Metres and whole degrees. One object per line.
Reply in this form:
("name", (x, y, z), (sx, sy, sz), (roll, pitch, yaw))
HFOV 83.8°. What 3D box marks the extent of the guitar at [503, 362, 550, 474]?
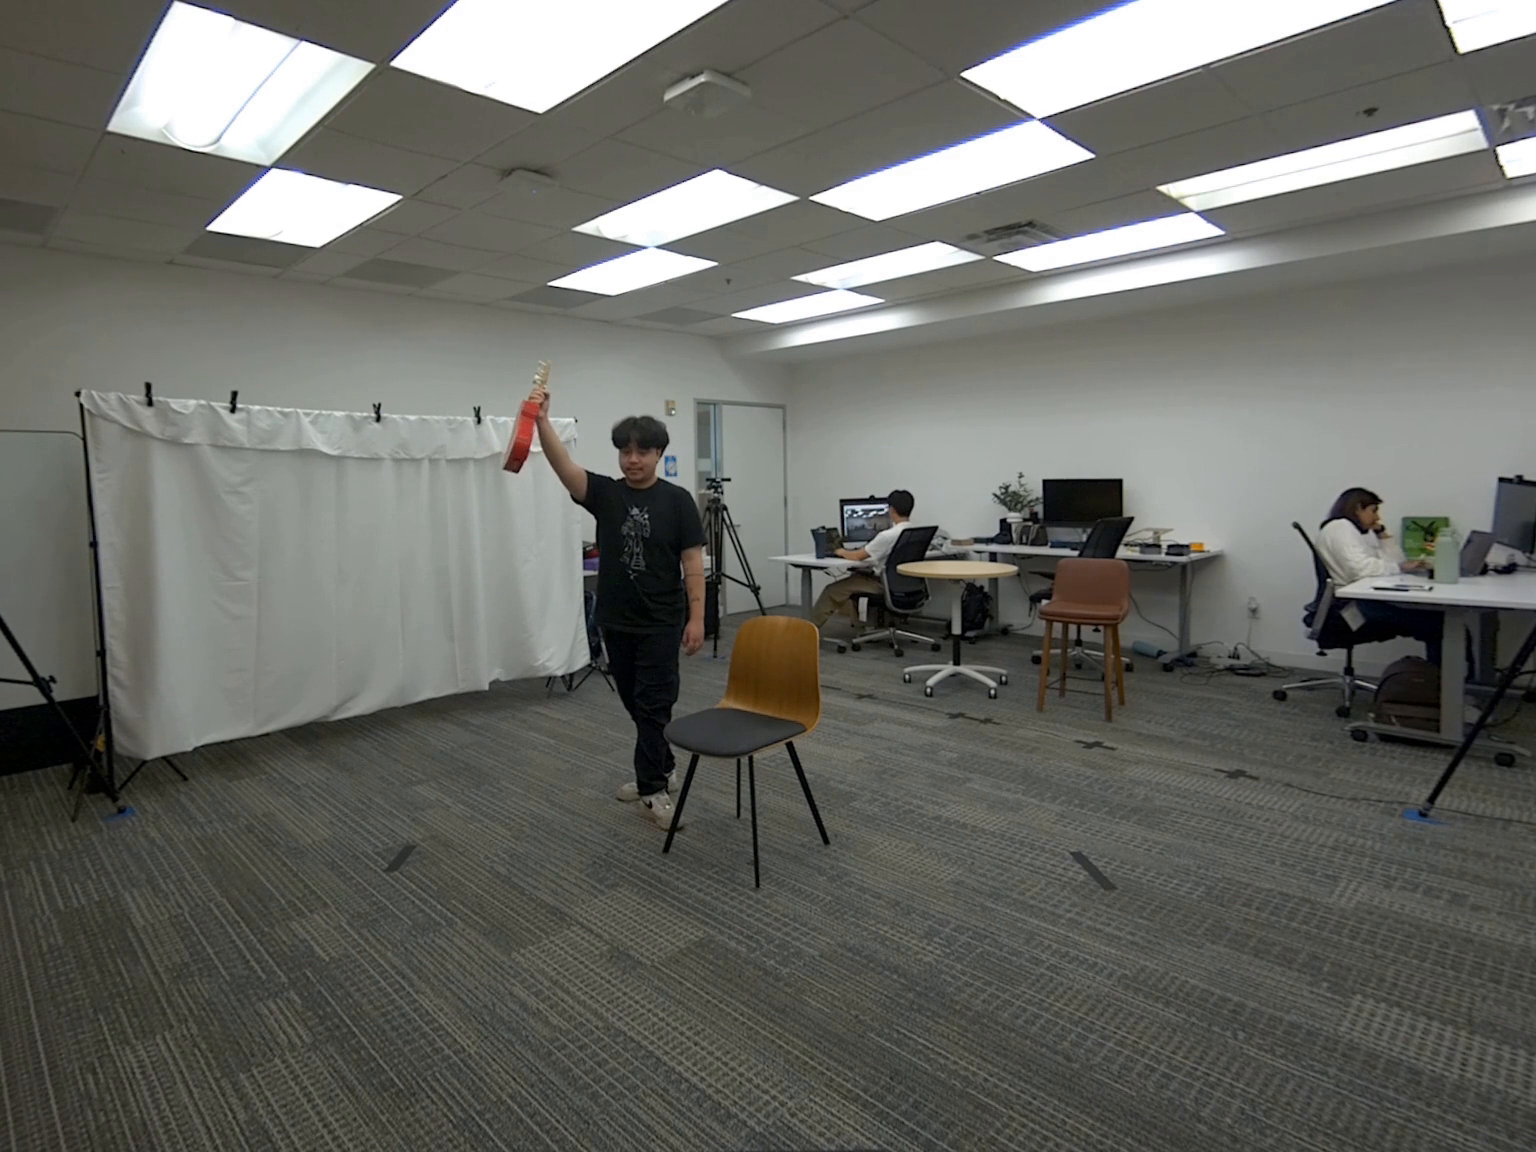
("guitar", (-0.897, -0.600, 3.207), (0.069, 0.511, 0.192), (16, -39, -21))
